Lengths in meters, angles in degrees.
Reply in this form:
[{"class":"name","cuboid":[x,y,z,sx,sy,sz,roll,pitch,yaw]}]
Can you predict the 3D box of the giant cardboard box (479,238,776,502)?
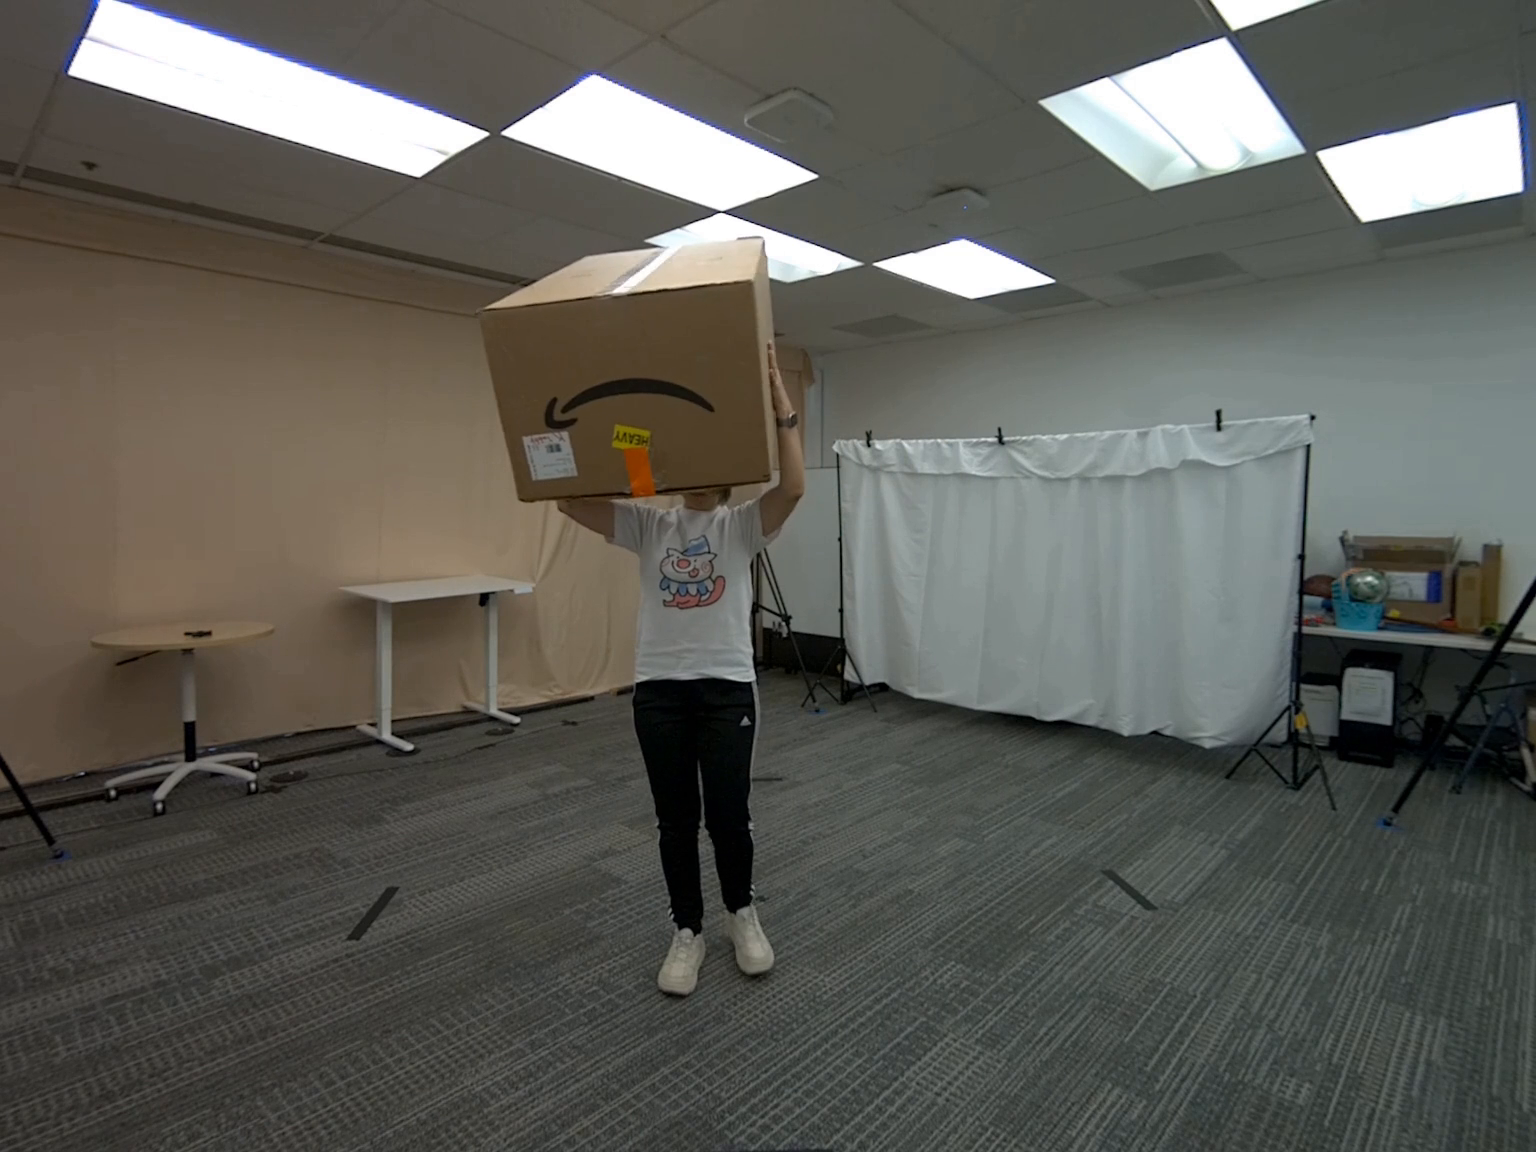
[{"class":"giant cardboard box","cuboid":[-0.275,-0.596,2.223,0.587,0.439,1.039,-4,26,4]}]
